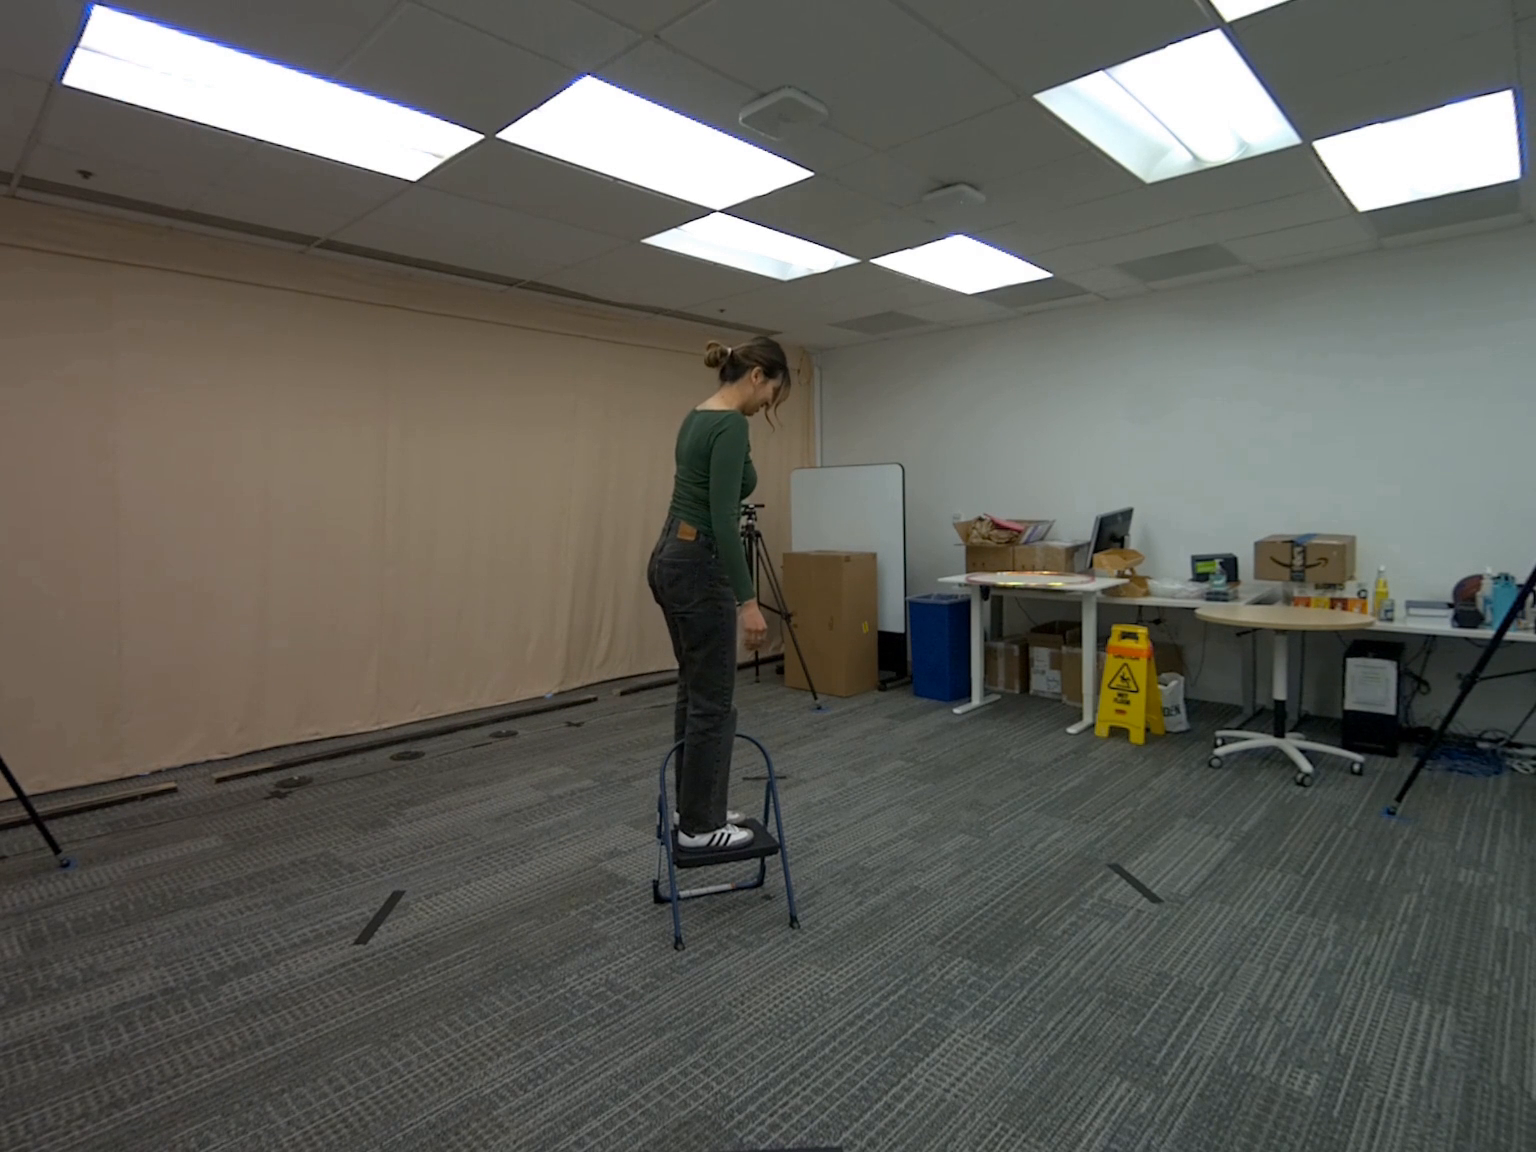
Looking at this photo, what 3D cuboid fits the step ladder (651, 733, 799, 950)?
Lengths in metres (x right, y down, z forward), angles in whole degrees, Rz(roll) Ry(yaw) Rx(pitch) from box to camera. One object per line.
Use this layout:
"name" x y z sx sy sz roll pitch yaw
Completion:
"step ladder" -0.151 0.851 2.856 0.422 0.605 0.357 -2 3 -20
